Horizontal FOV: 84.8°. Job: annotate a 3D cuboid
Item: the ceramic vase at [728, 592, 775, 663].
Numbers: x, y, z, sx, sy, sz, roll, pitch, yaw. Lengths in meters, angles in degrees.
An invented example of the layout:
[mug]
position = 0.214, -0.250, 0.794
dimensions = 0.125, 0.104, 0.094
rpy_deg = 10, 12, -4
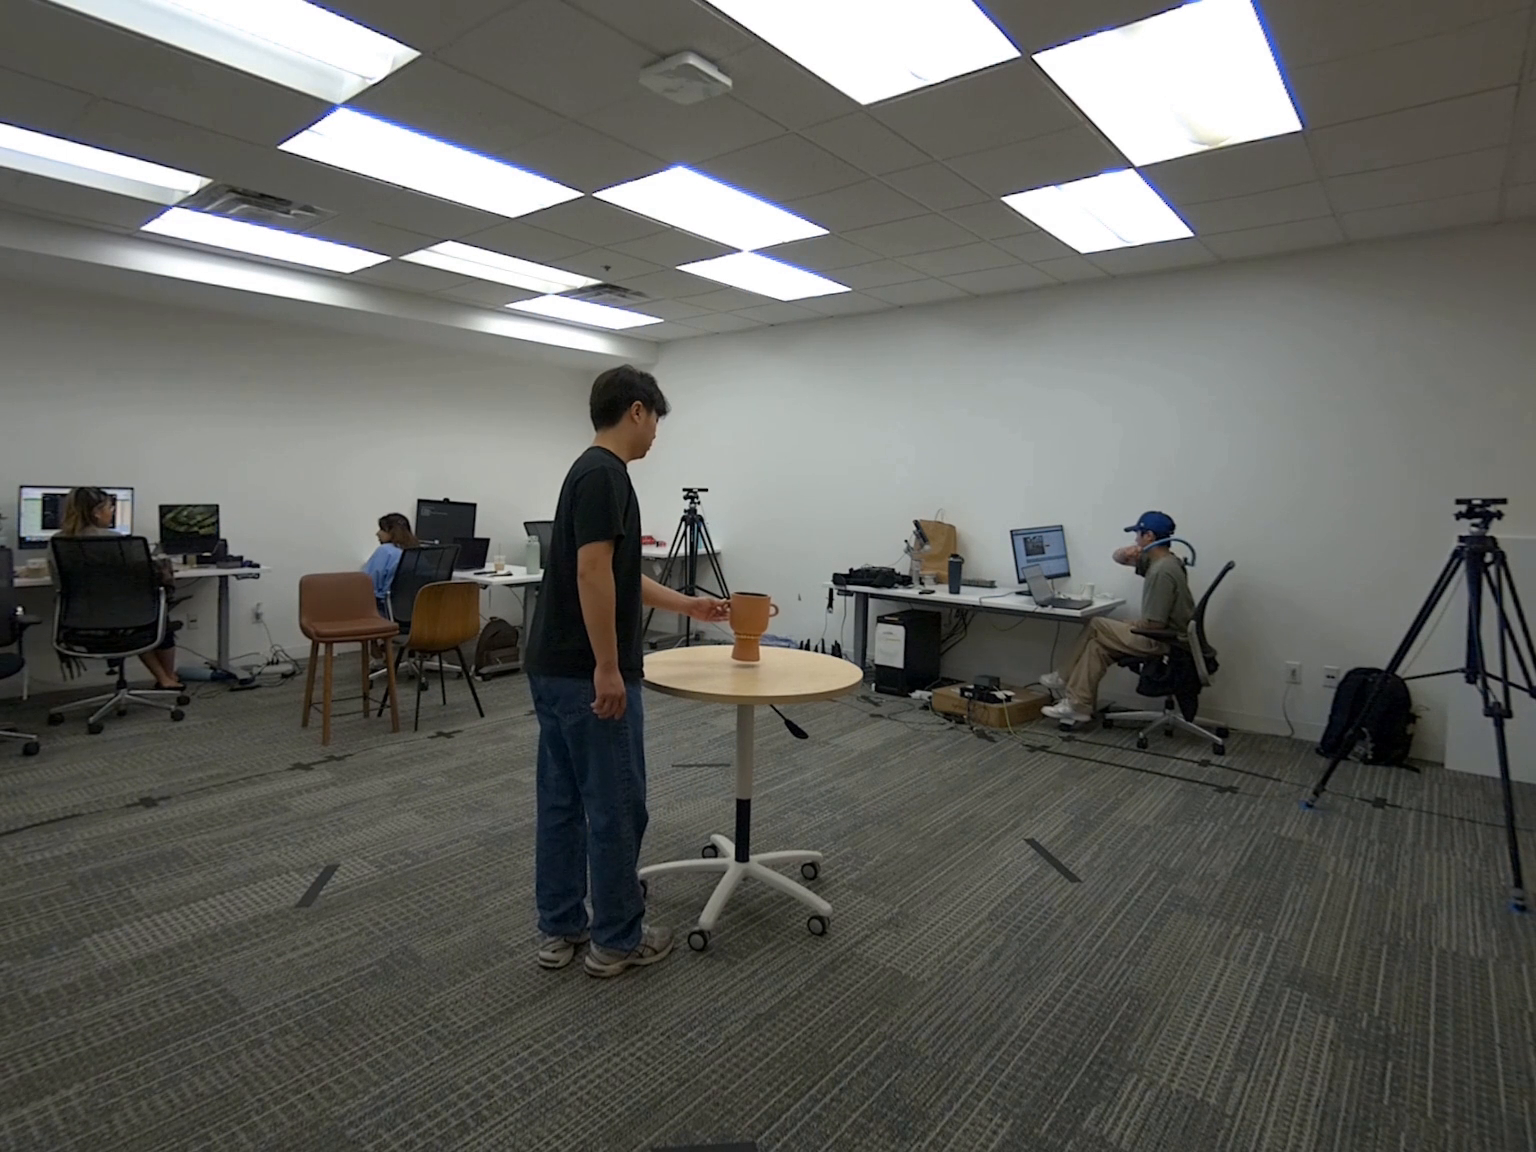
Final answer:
[ceramic vase]
position = -0.073, 0.166, 2.867
dimensions = 0.163, 0.219, 0.131
rpy_deg = 5, 3, 27
